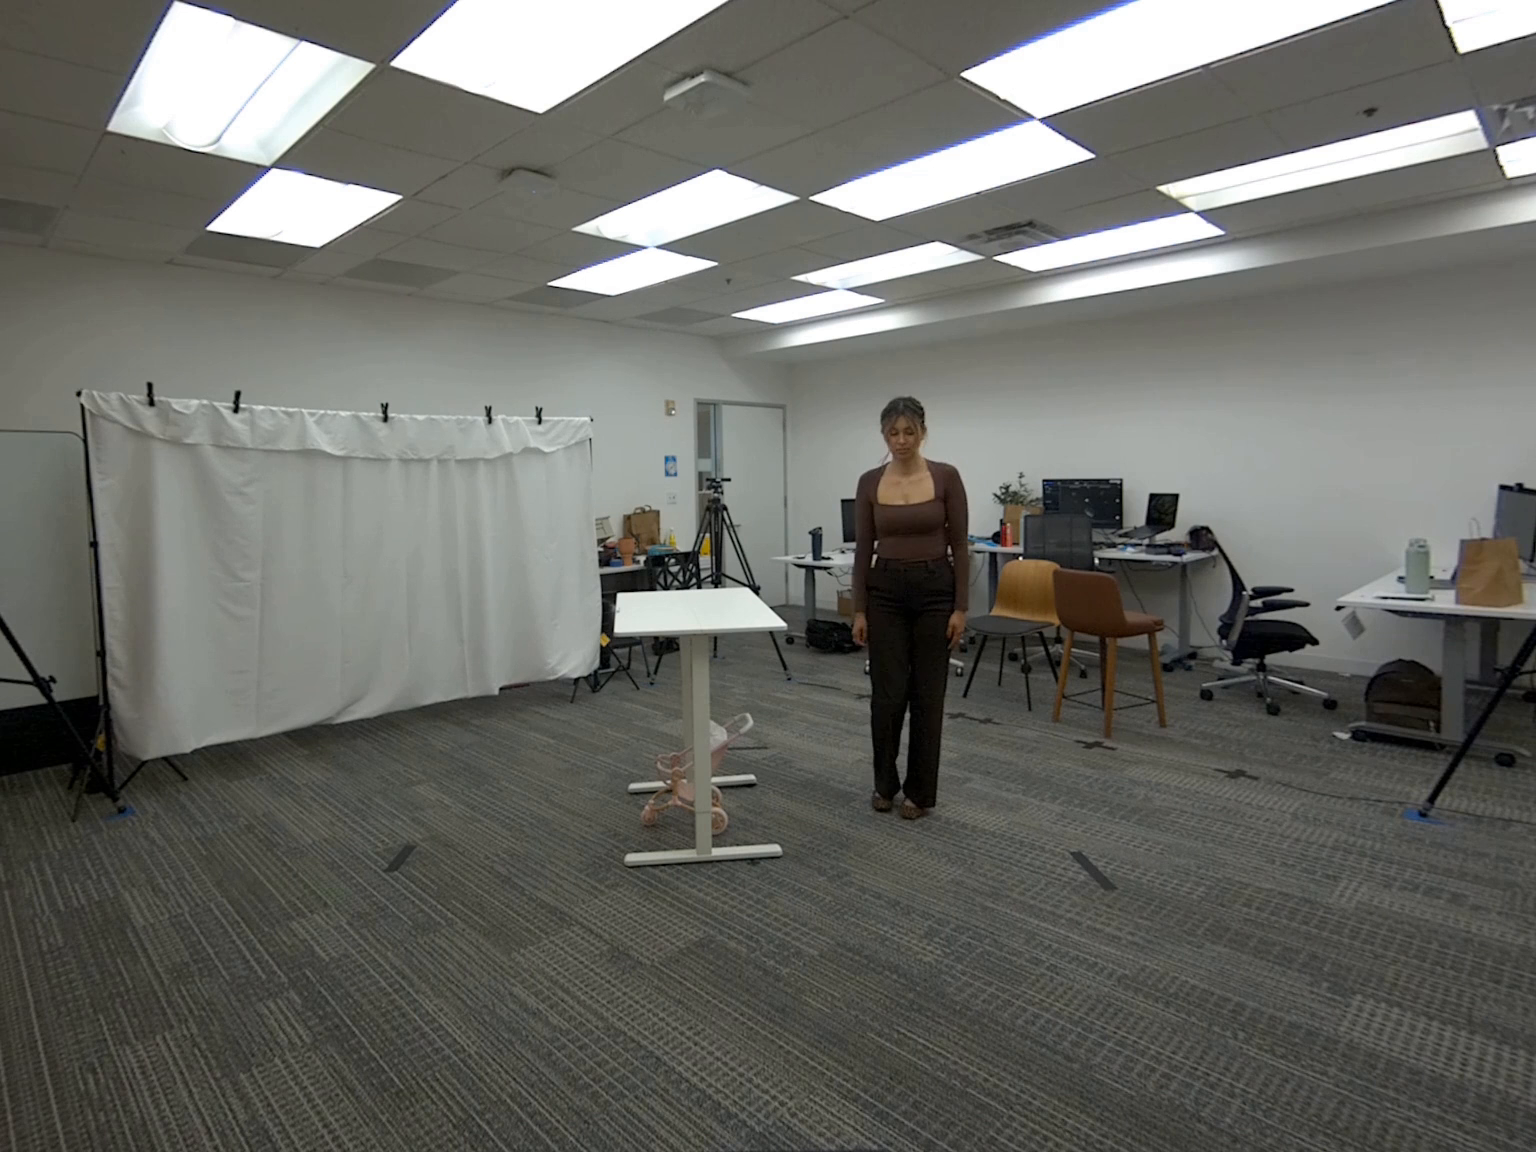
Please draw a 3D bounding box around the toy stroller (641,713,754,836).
[{"bbox_3d":[-0.296,0.781,3.466,0.340,0.534,0.283,15,3,-4],"label":"toy stroller"}]
